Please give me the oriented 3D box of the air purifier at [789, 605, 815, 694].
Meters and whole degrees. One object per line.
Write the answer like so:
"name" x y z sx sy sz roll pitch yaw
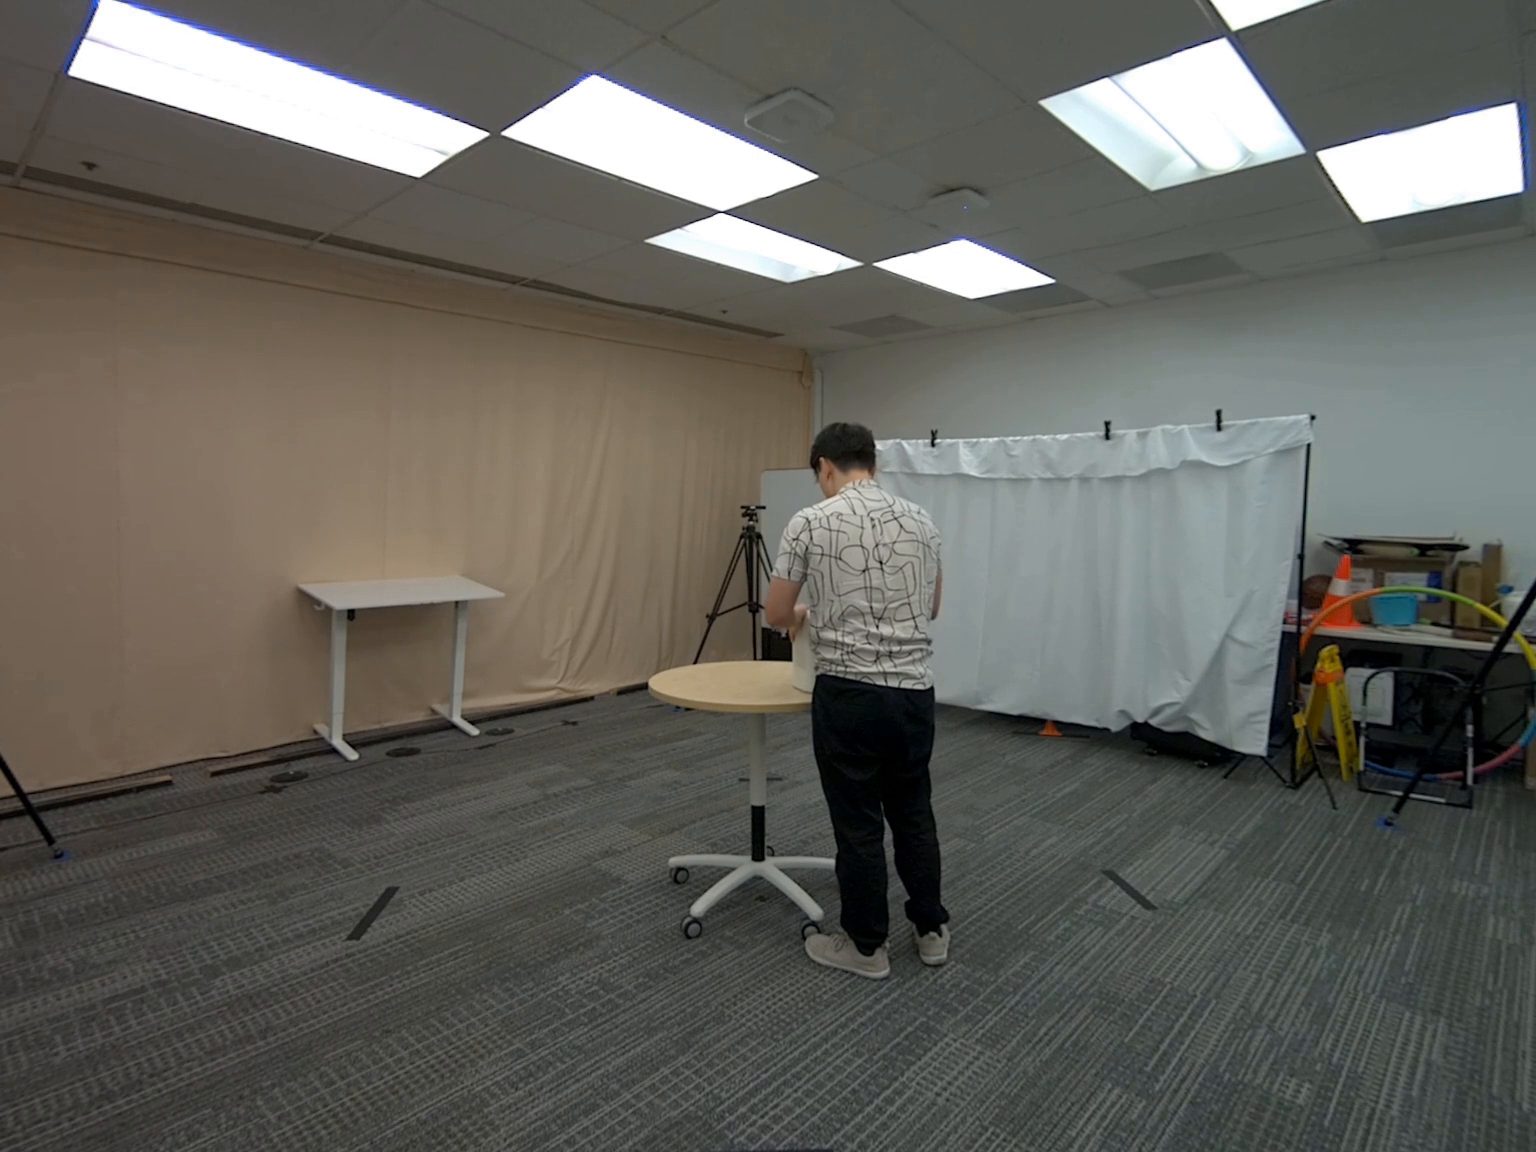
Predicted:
"air purifier" 0.186 0.245 2.815 0.168 0.265 0.175 2 3 -17
